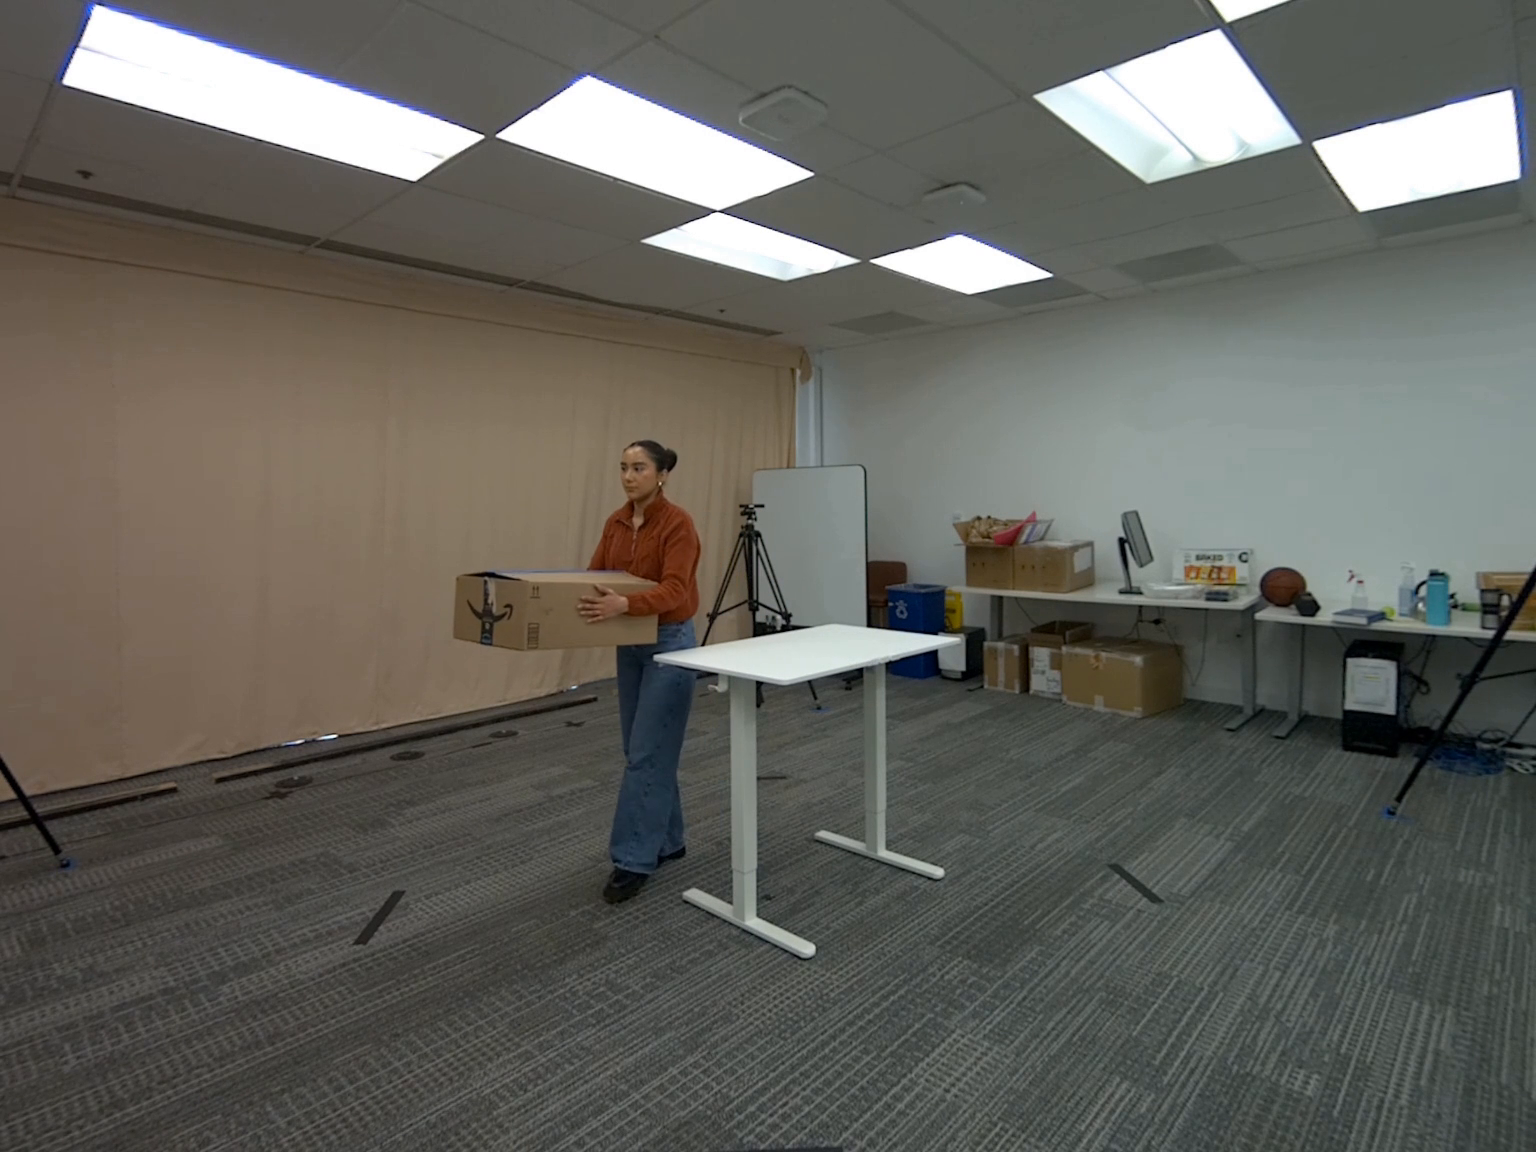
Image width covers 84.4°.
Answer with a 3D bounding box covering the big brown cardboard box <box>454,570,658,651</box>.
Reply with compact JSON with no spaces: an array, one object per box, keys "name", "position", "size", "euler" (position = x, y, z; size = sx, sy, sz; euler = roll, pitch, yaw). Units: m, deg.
[{"name":"big brown cardboard box","position":[-0.714,0.114,2.899],"size":[0.431,0.233,0.570],"euler":[3,1,39]}]
